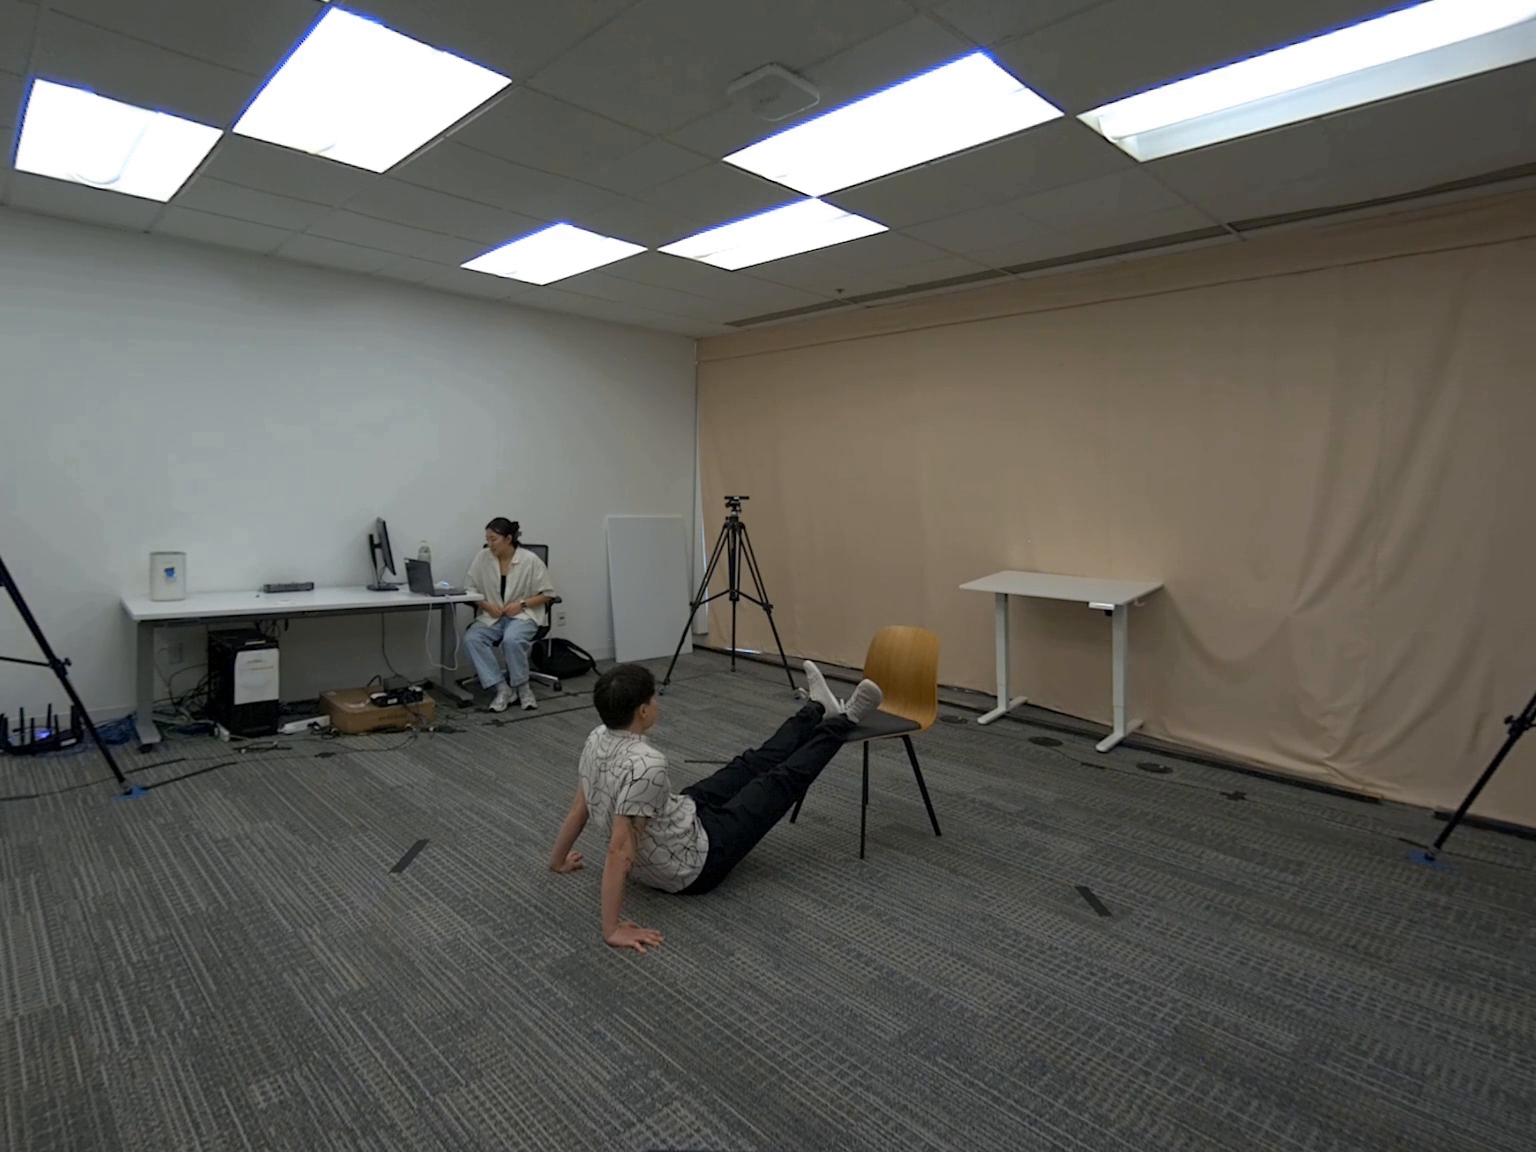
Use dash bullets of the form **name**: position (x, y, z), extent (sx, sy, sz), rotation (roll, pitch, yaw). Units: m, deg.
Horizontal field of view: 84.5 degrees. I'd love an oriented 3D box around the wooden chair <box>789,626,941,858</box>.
- **wooden chair**: position (0.407, 0.650, 3.548), extent (0.510, 0.877, 0.490), rotation (5, 1, -36)
